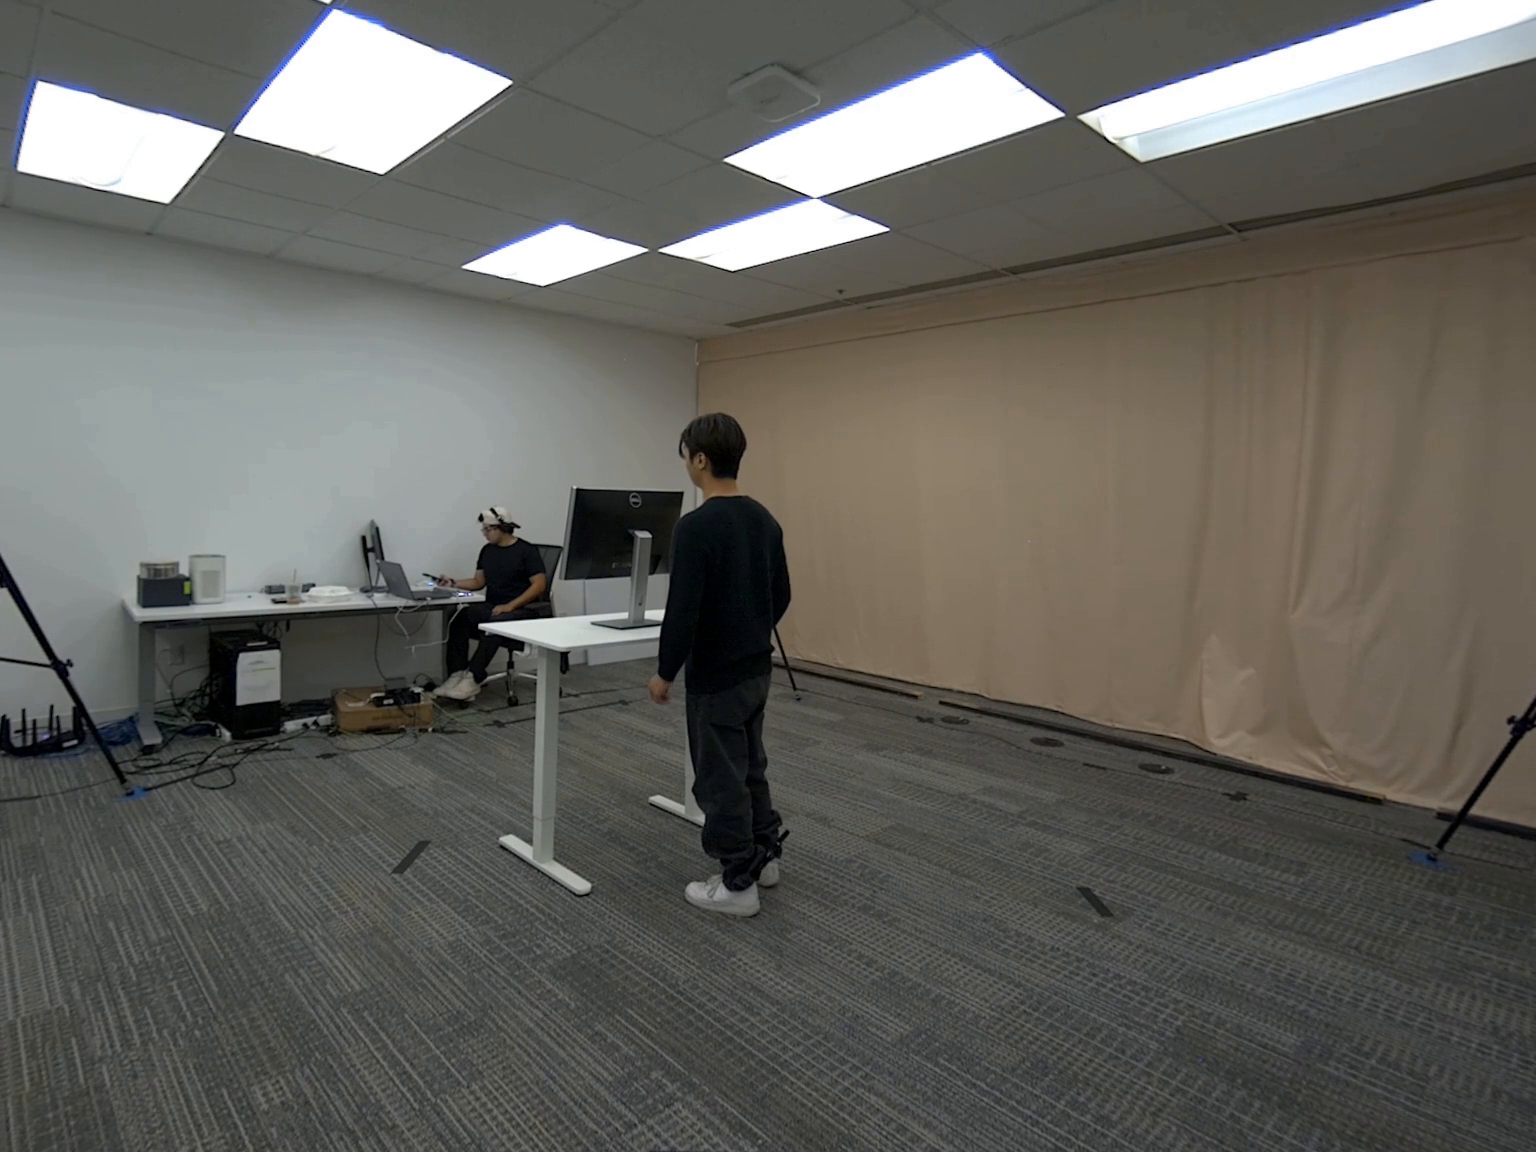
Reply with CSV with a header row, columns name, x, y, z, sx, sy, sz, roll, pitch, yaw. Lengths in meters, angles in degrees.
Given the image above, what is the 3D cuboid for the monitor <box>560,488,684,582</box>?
name,x,y,z,sx,sy,sz,roll,pitch,yaw
monitor,-0.556,-0.075,3.333,0.178,0.515,0.519,-3,2,41
